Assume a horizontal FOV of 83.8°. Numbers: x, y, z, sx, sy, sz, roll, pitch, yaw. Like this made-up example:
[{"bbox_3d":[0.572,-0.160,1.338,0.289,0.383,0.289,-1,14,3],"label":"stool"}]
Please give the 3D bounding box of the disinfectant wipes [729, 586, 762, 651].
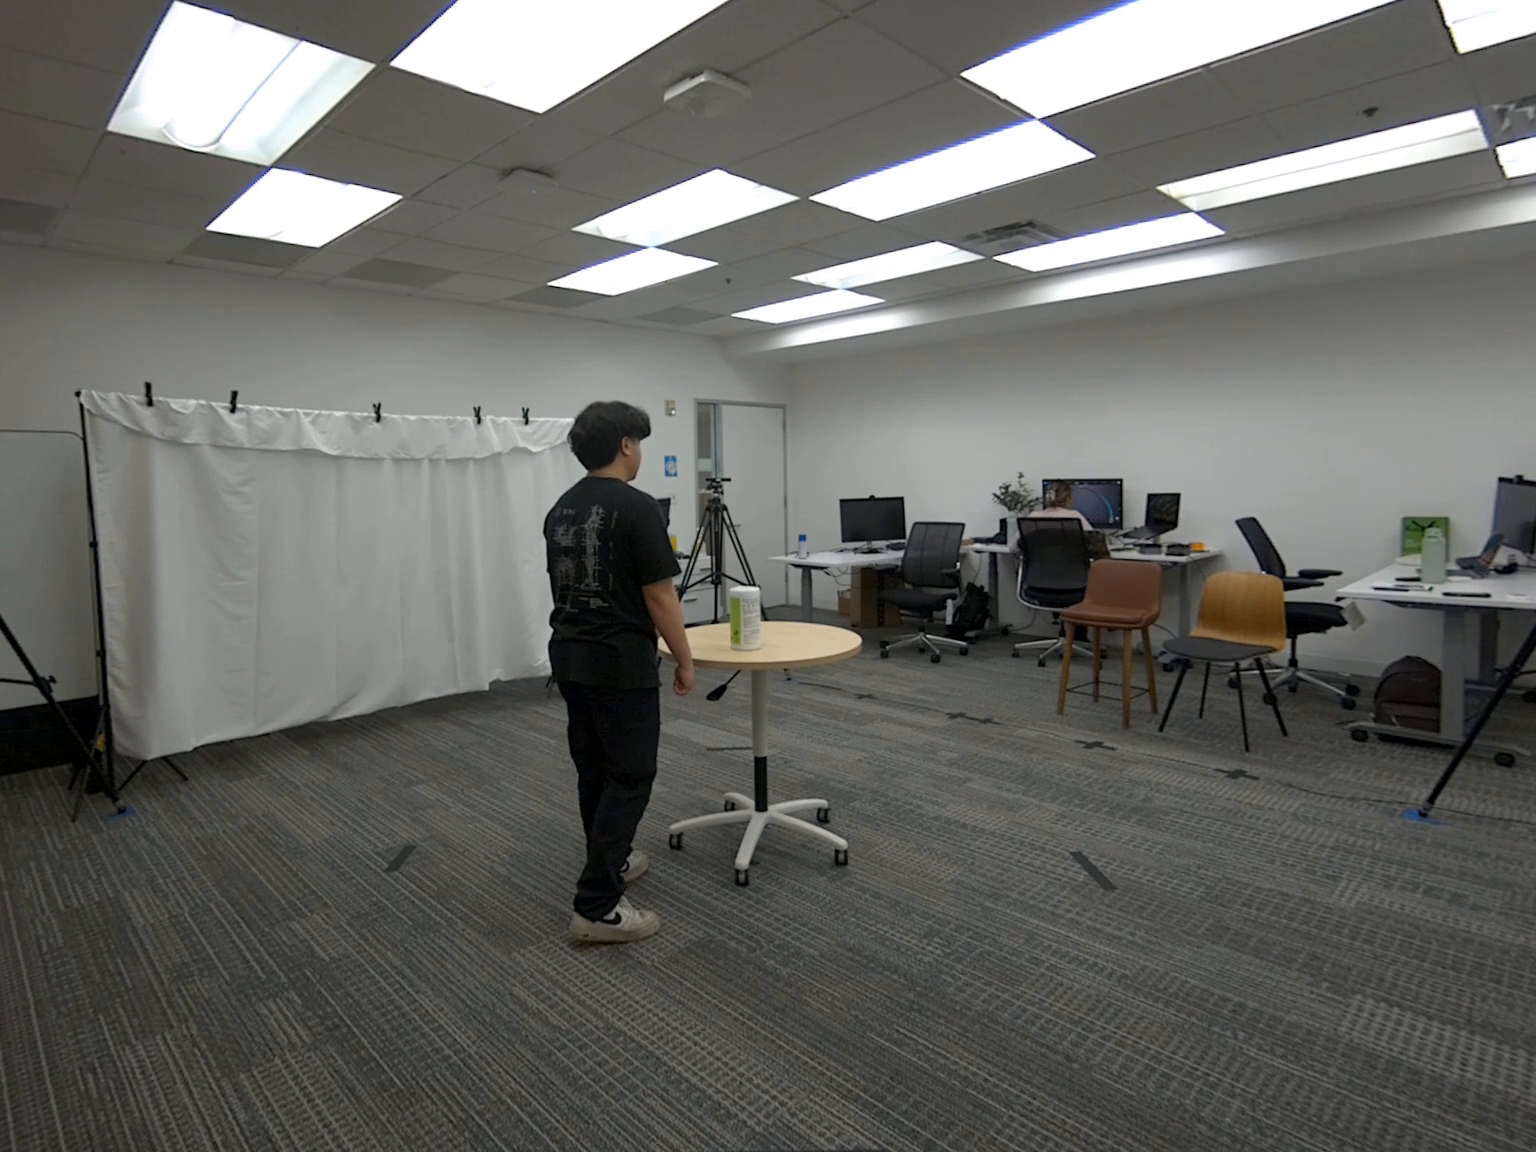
[{"bbox_3d":[-0.076,0.151,3.041,0.118,0.216,0.118,-2,5,-2],"label":"disinfectant wipes"}]
